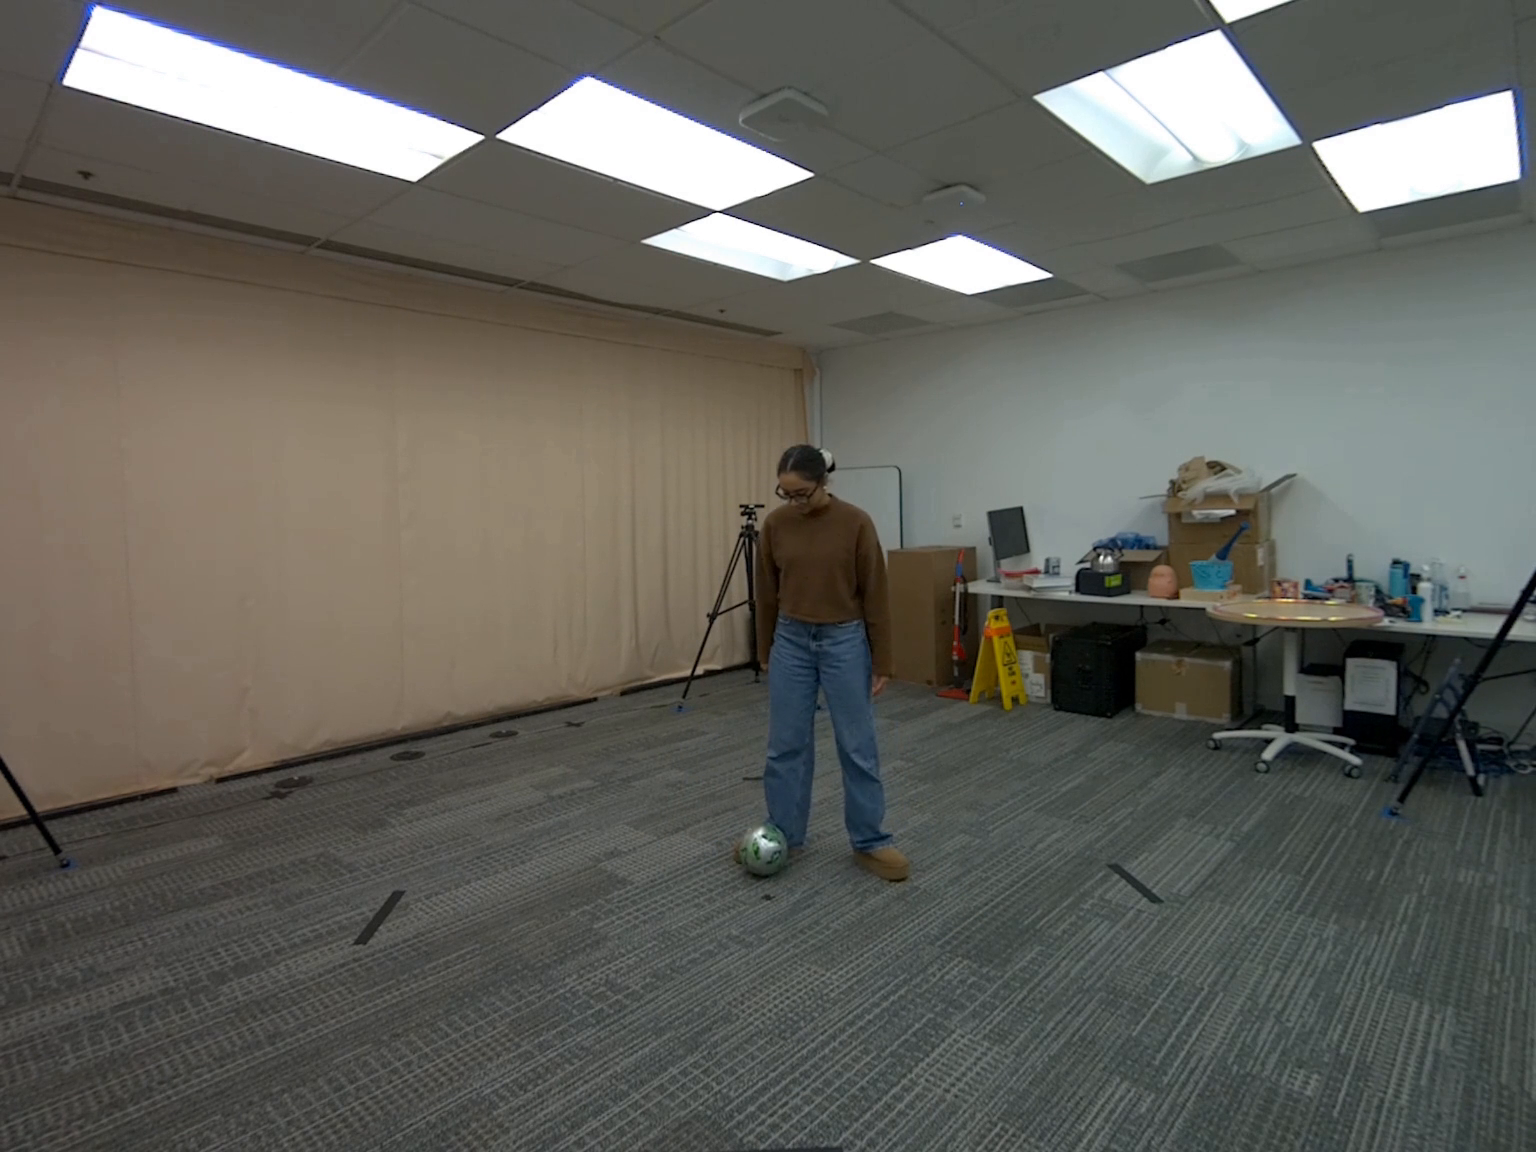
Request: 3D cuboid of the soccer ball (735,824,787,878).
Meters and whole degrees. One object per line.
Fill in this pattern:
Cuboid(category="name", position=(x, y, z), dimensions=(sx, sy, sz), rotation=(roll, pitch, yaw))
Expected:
Cuboid(category="soccer ball", position=(-0.014, 1.026, 3.164), dimensions=(0.187, 0.187, 0.188), rotation=(-1, 4, -2))
